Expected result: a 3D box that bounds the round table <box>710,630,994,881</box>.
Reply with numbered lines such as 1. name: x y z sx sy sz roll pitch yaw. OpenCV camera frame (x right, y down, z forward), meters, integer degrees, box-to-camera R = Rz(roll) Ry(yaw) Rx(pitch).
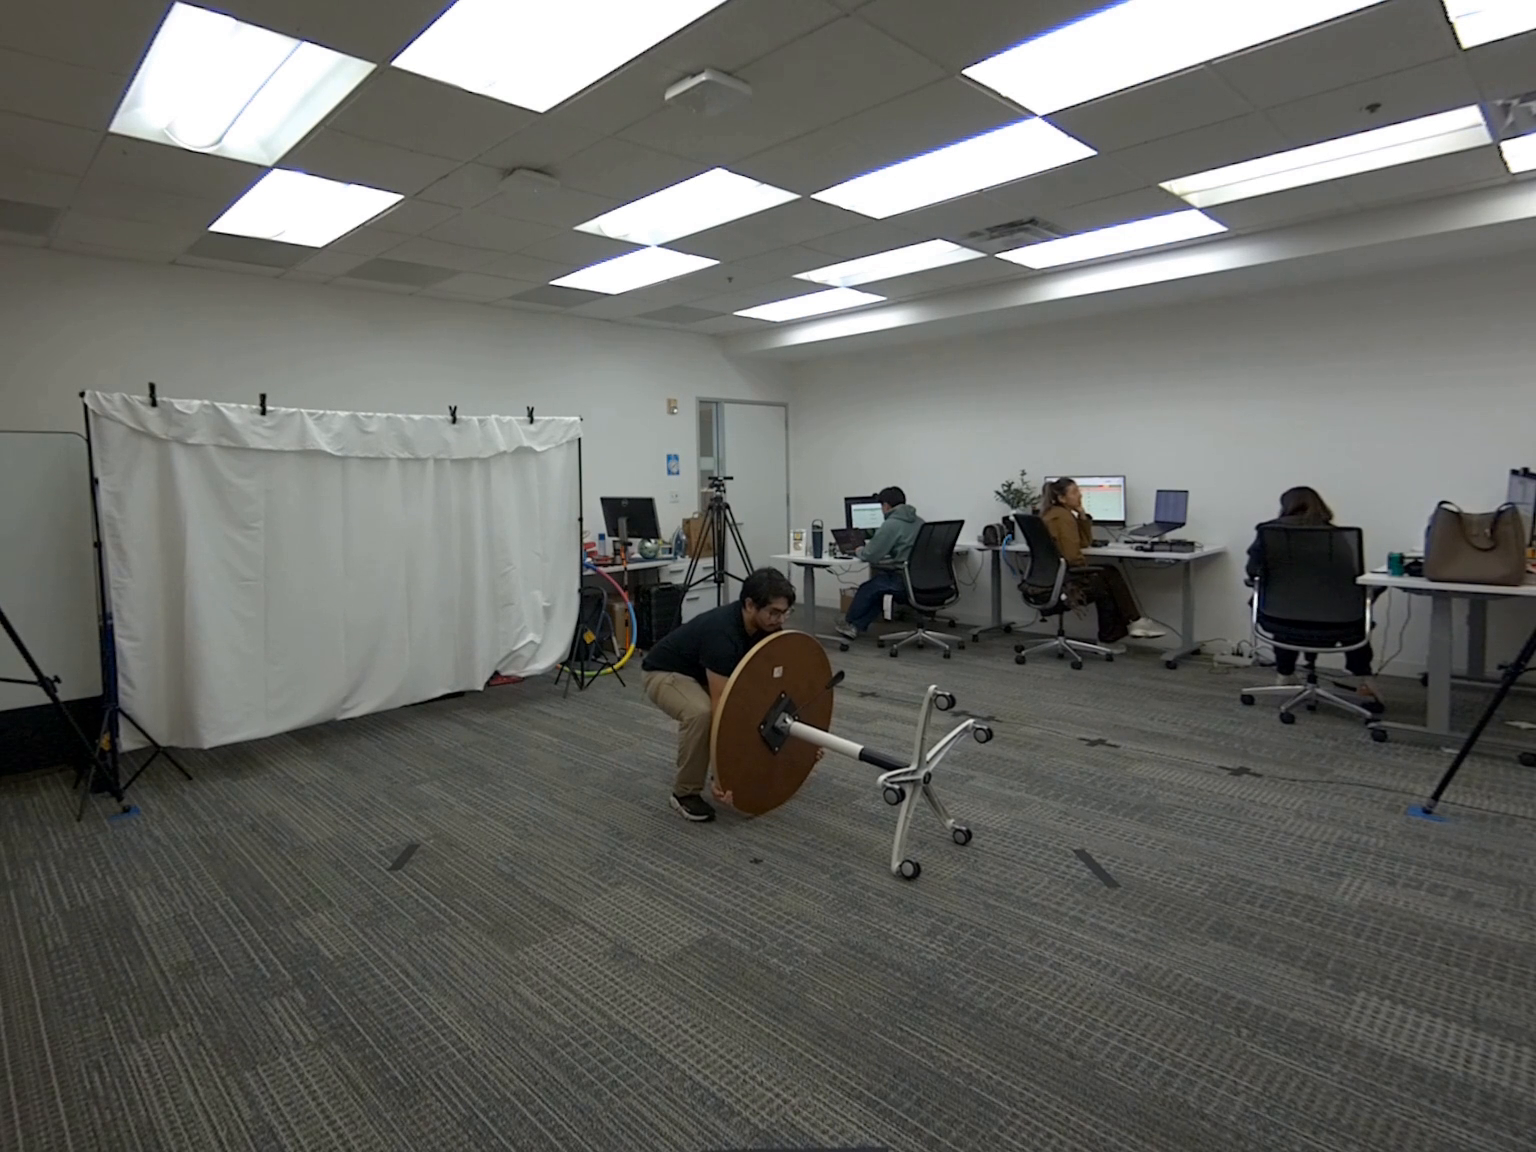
1. round table: 0.329 0.676 3.273 0.813 0.779 0.765 13 13 41
